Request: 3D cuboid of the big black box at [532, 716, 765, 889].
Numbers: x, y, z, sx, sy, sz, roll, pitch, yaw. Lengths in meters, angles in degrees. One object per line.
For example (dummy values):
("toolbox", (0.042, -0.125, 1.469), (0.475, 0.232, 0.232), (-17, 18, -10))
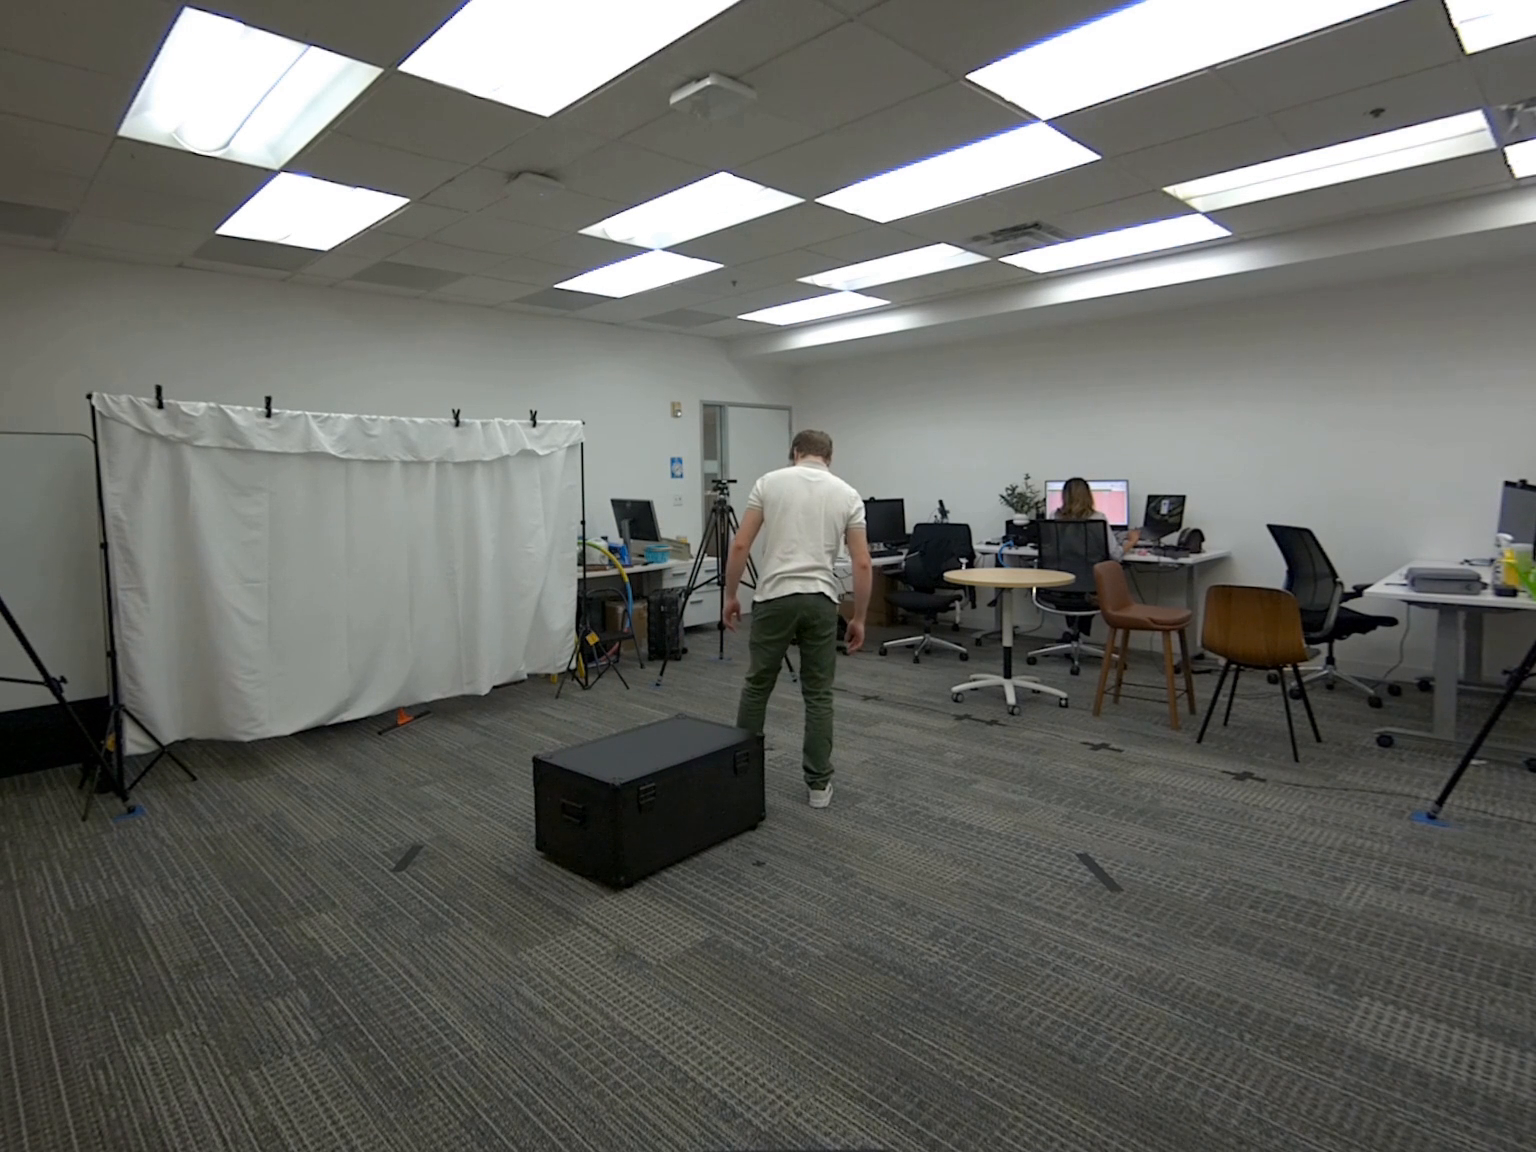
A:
("big black box", (-0.415, 0.831, 3.346), (0.539, 0.384, 0.846), (2, 6, 41))
